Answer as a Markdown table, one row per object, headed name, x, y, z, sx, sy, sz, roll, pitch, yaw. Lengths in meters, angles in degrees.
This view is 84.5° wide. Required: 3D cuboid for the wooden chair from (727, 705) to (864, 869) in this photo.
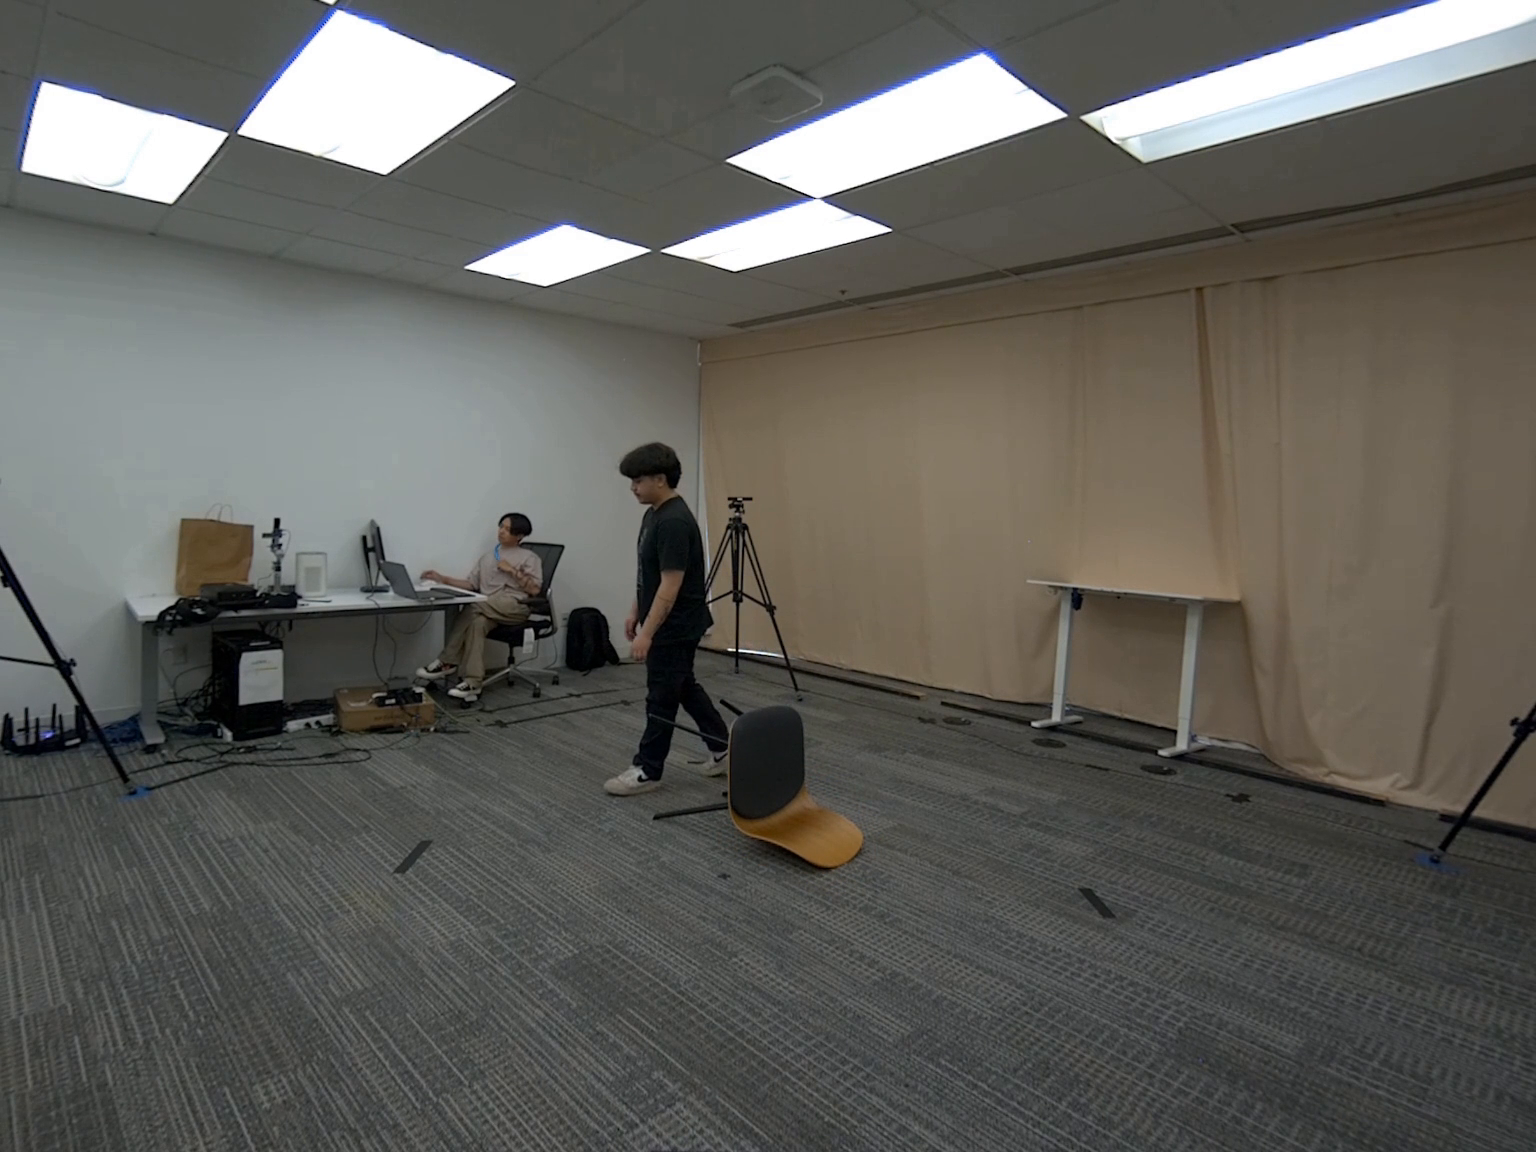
| name | x | y | z | sx | sy | sz | roll | pitch | yaw |
| --- | --- | --- | --- | --- | --- | --- | --- | --- | --- |
| wooden chair | -0.043 | 0.817 | 3.508 | 0.900 | 0.522 | 0.467 | 7 | 6 | 42 |
